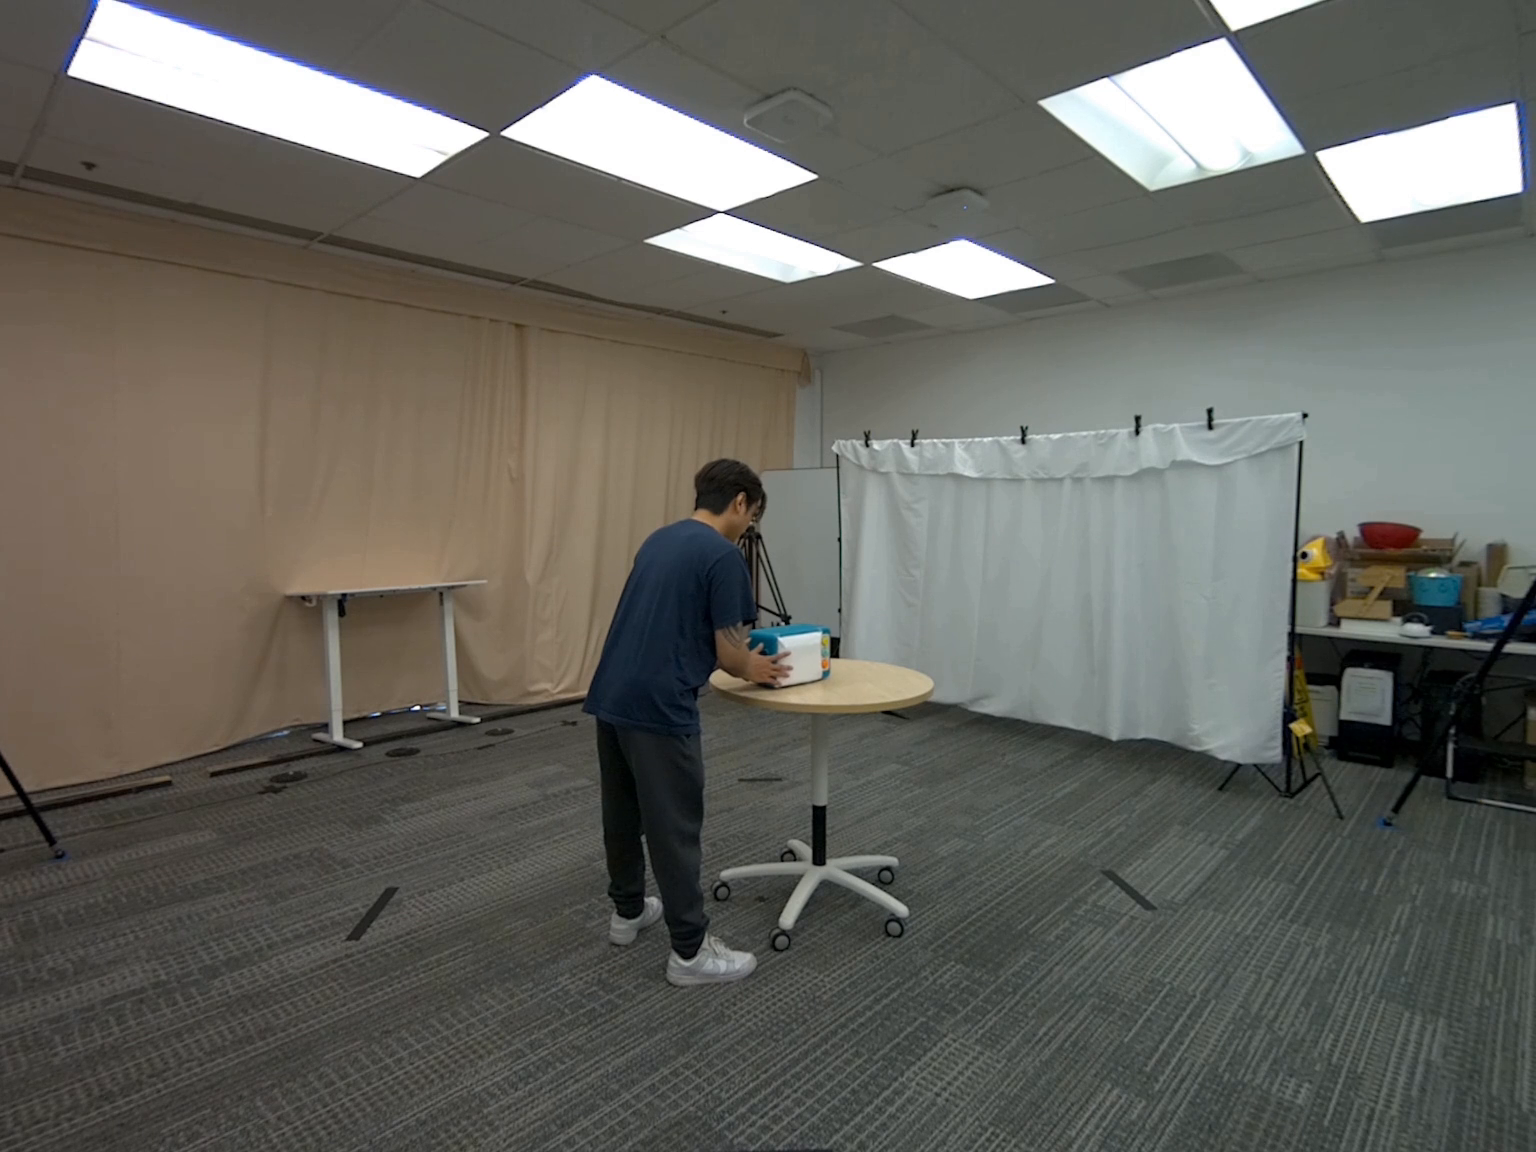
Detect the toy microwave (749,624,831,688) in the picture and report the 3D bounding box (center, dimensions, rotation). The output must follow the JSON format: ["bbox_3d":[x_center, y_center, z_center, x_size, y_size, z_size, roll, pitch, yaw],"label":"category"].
[{"bbox_3d":[0.086,0.268,2.846,0.277,0.184,0.157,-5,5,-42],"label":"toy microwave"}]
